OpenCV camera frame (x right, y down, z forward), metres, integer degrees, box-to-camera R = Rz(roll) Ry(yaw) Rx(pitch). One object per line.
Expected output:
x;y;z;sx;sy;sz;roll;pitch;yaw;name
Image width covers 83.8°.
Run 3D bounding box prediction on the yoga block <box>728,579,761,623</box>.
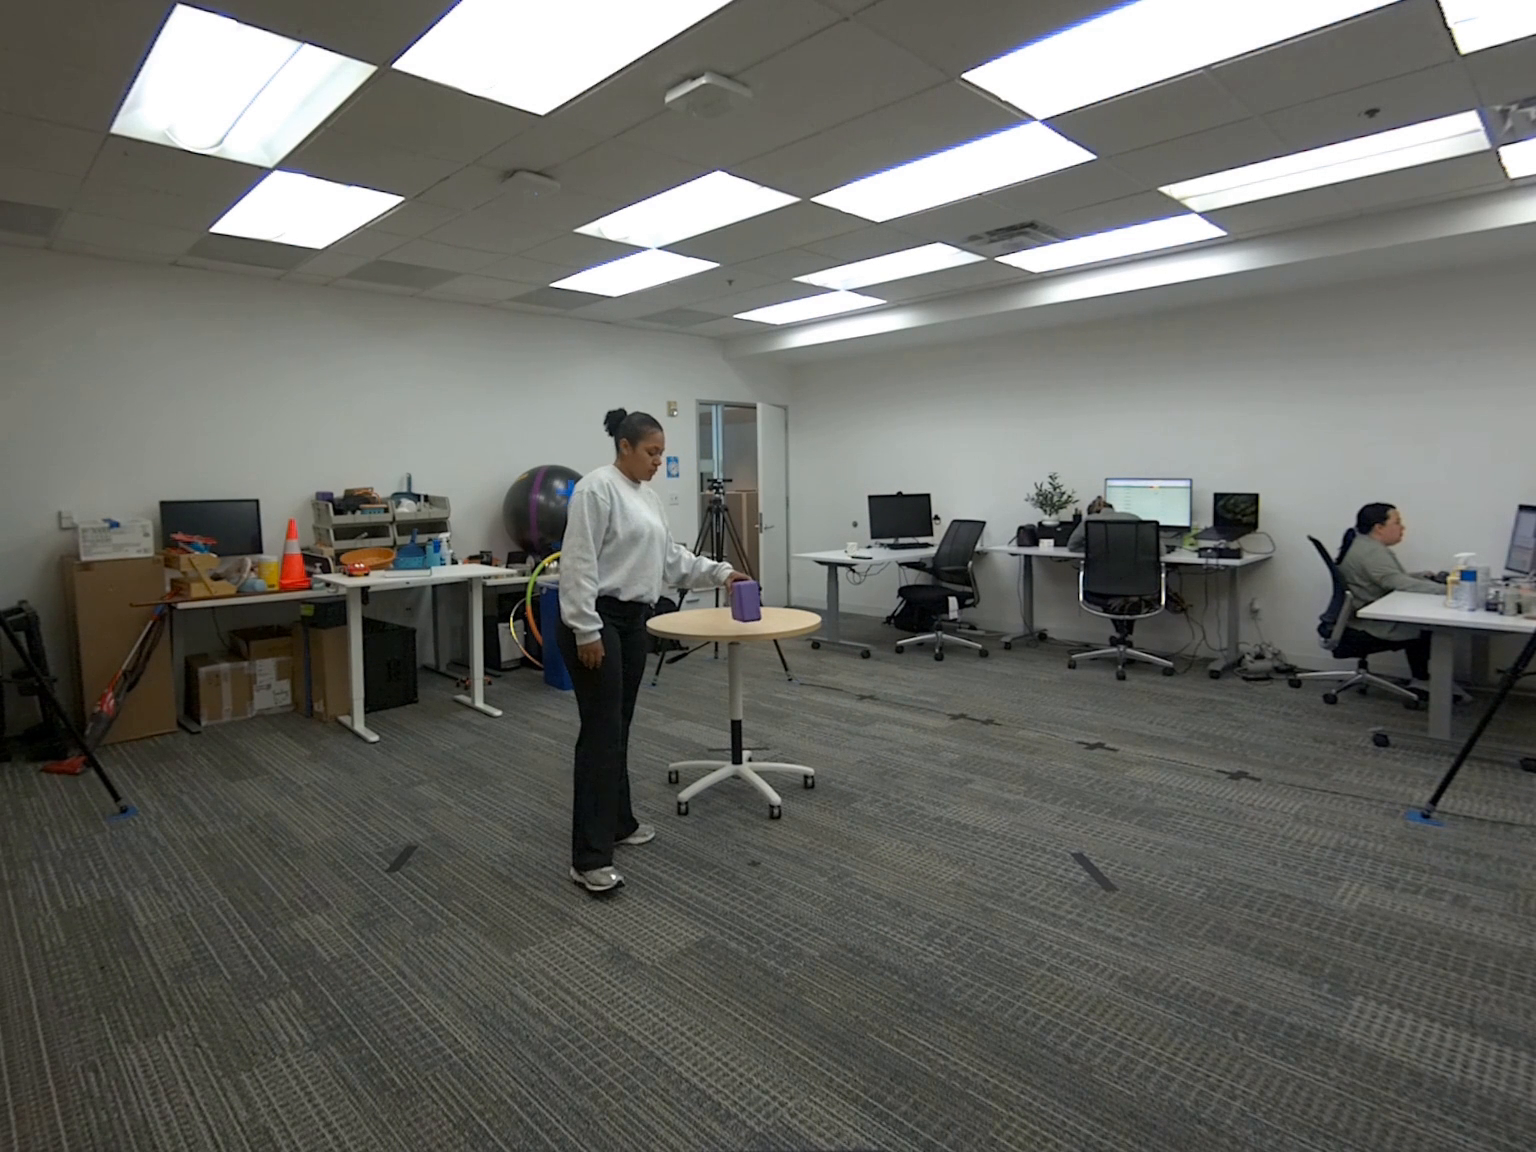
-0.100;0.099;3.266;0.076;0.149;0.230;-6;-2;-8;yoga block
